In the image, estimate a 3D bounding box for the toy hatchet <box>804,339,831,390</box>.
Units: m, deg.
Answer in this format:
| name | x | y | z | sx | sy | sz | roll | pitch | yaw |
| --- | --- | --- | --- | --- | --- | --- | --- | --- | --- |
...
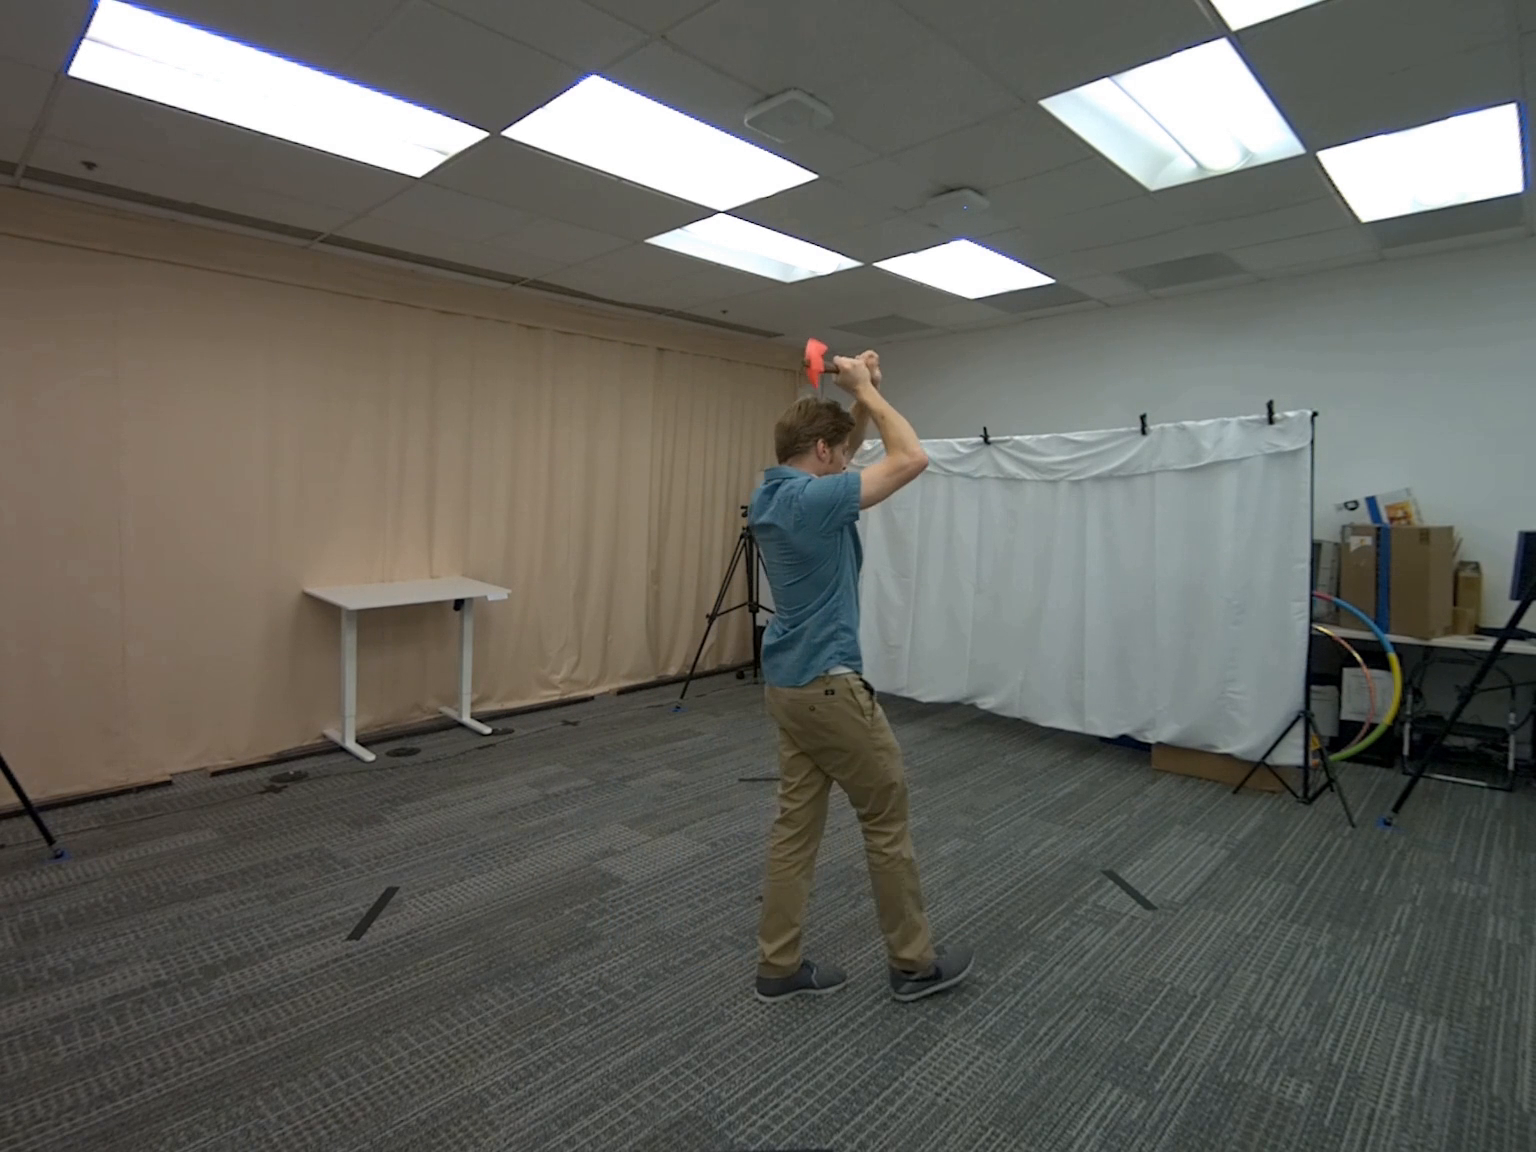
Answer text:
| name | x | y | z | sx | sy | sz | roll | pitch | yaw |
| --- | --- | --- | --- | --- | --- | --- | --- | --- | --- |
| toy hatchet | 0.209 | -0.600 | 2.284 | 0.265 | 0.131 | 0.030 | -24 | 1 | -29 |
